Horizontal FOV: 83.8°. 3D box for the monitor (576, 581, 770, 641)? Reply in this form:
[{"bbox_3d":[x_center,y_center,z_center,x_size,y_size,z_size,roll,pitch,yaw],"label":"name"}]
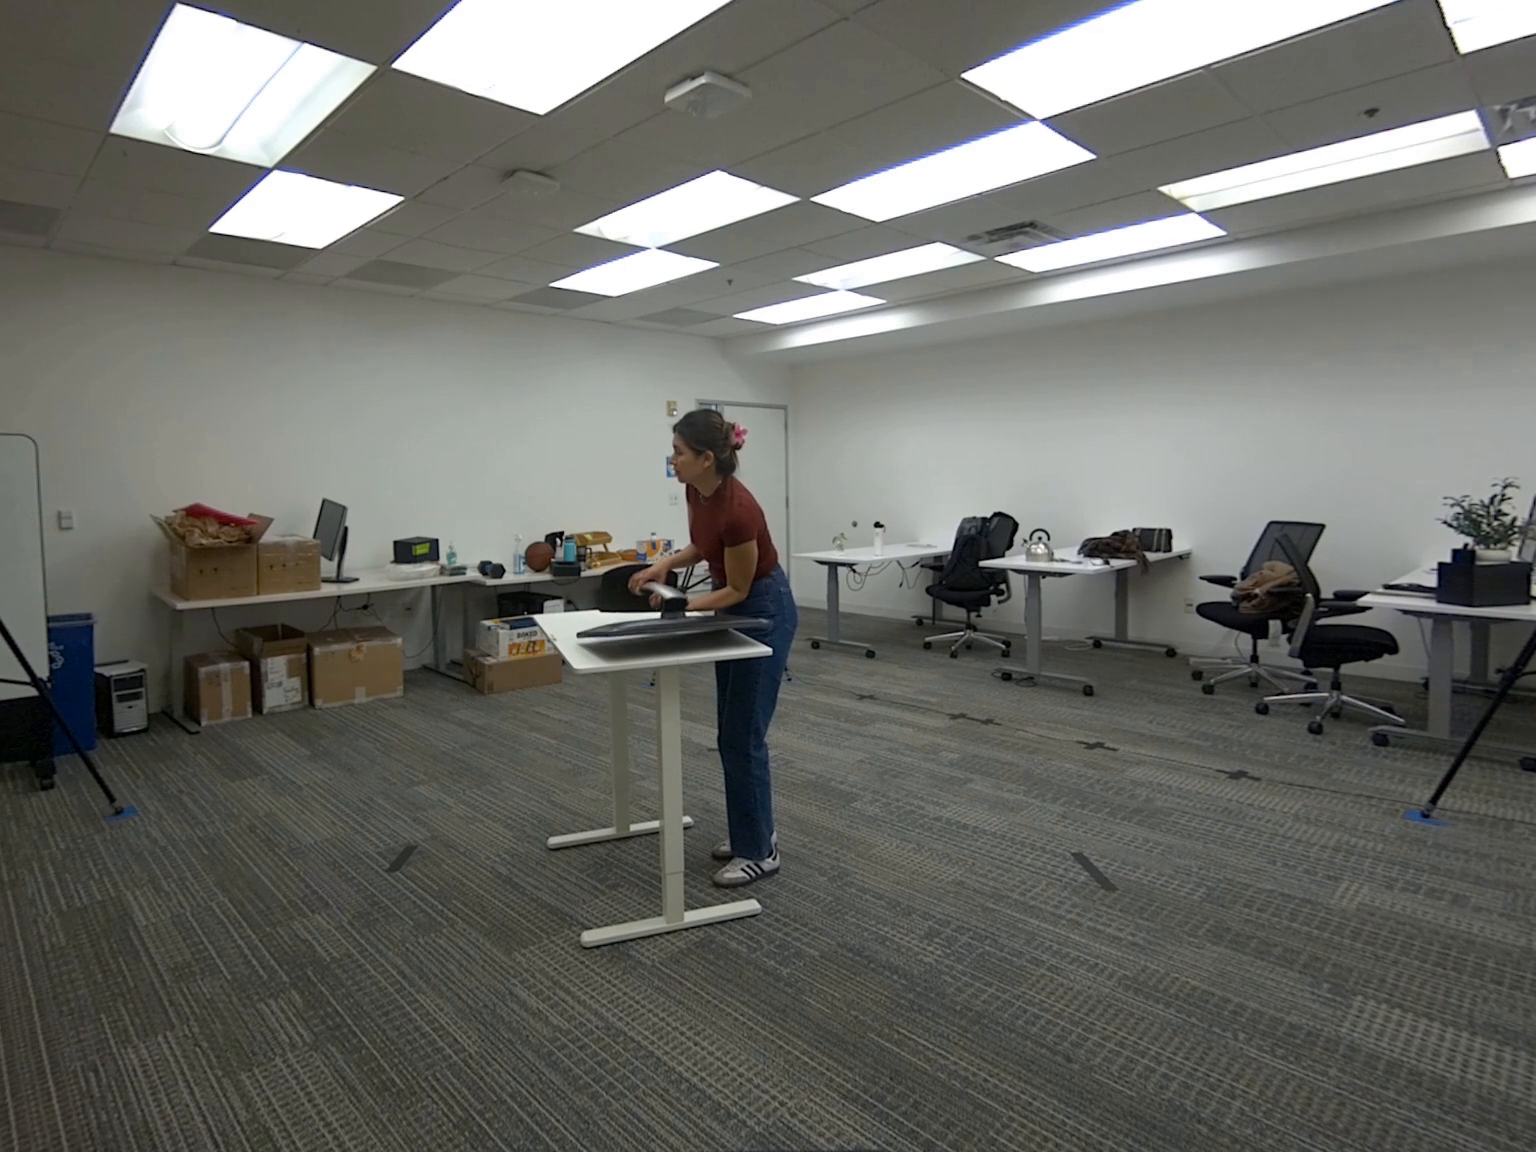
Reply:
[{"bbox_3d":[-0.346,0.113,2.761,0.528,0.185,0.539,-3,16,-25],"label":"monitor"}]
